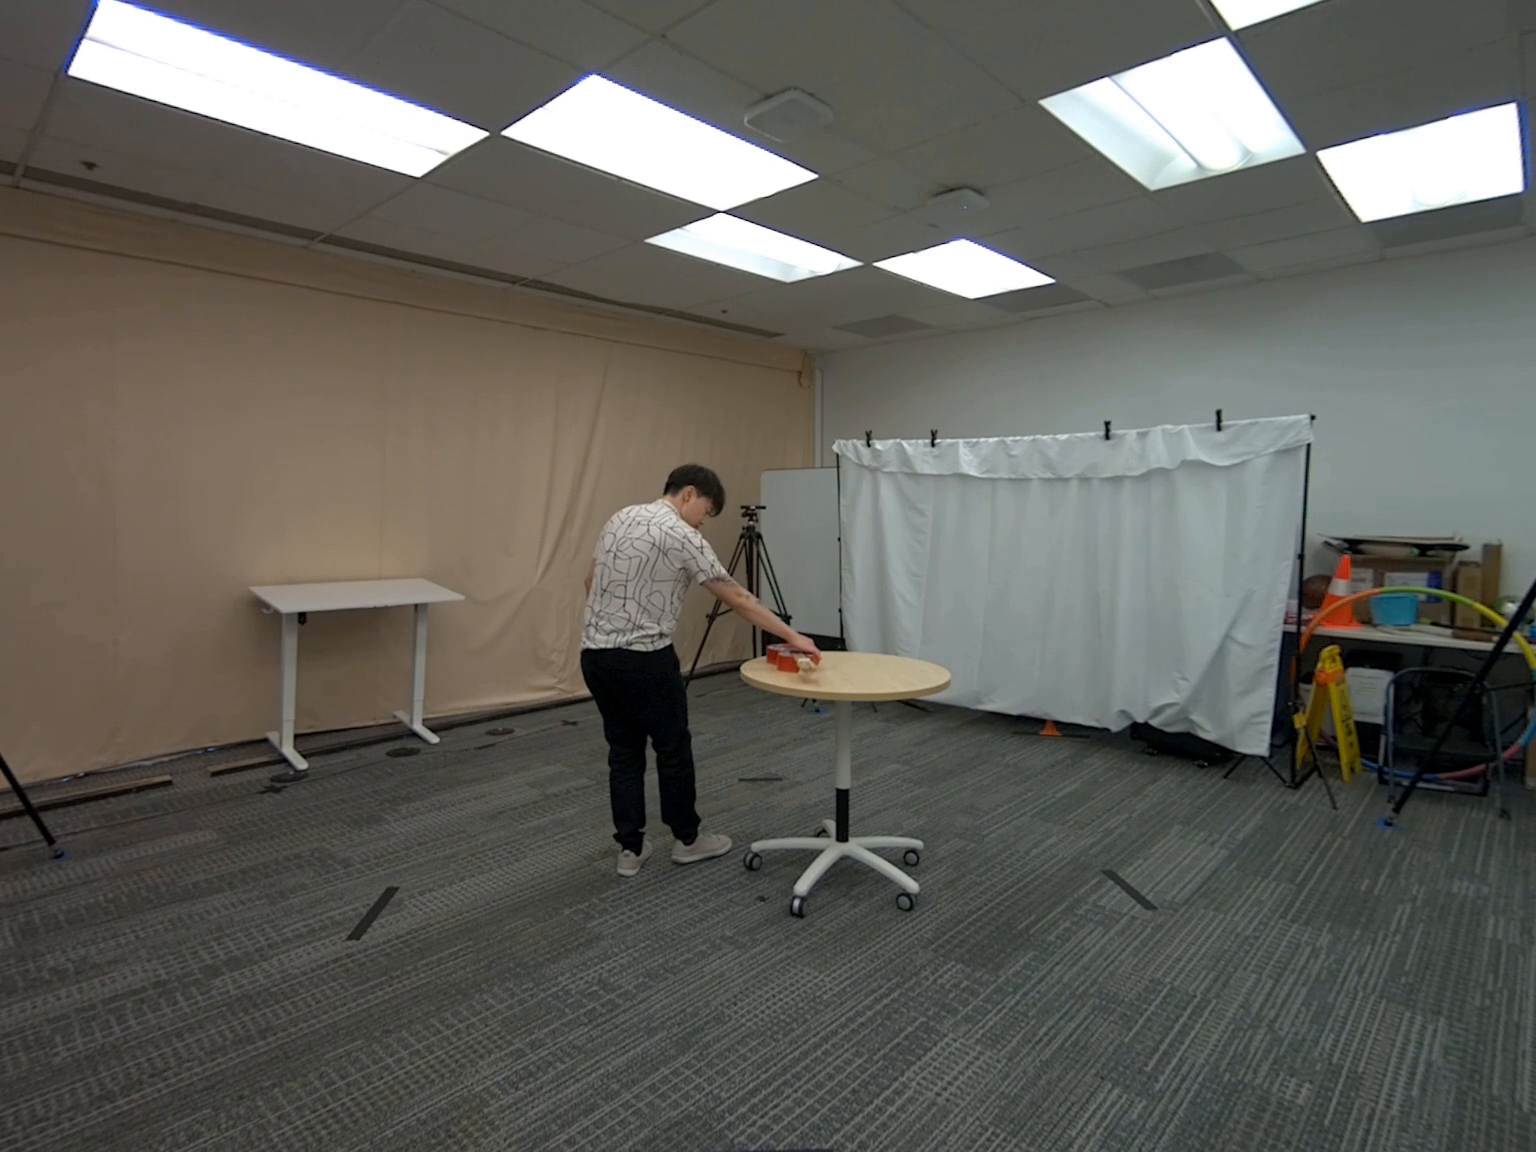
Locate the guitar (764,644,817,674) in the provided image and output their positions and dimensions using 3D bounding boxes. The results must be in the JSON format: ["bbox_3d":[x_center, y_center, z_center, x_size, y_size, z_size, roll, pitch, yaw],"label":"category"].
[{"bbox_3d":[0.091,0.315,3.074,0.193,0.070,0.497,1,4,1],"label":"guitar"}]
